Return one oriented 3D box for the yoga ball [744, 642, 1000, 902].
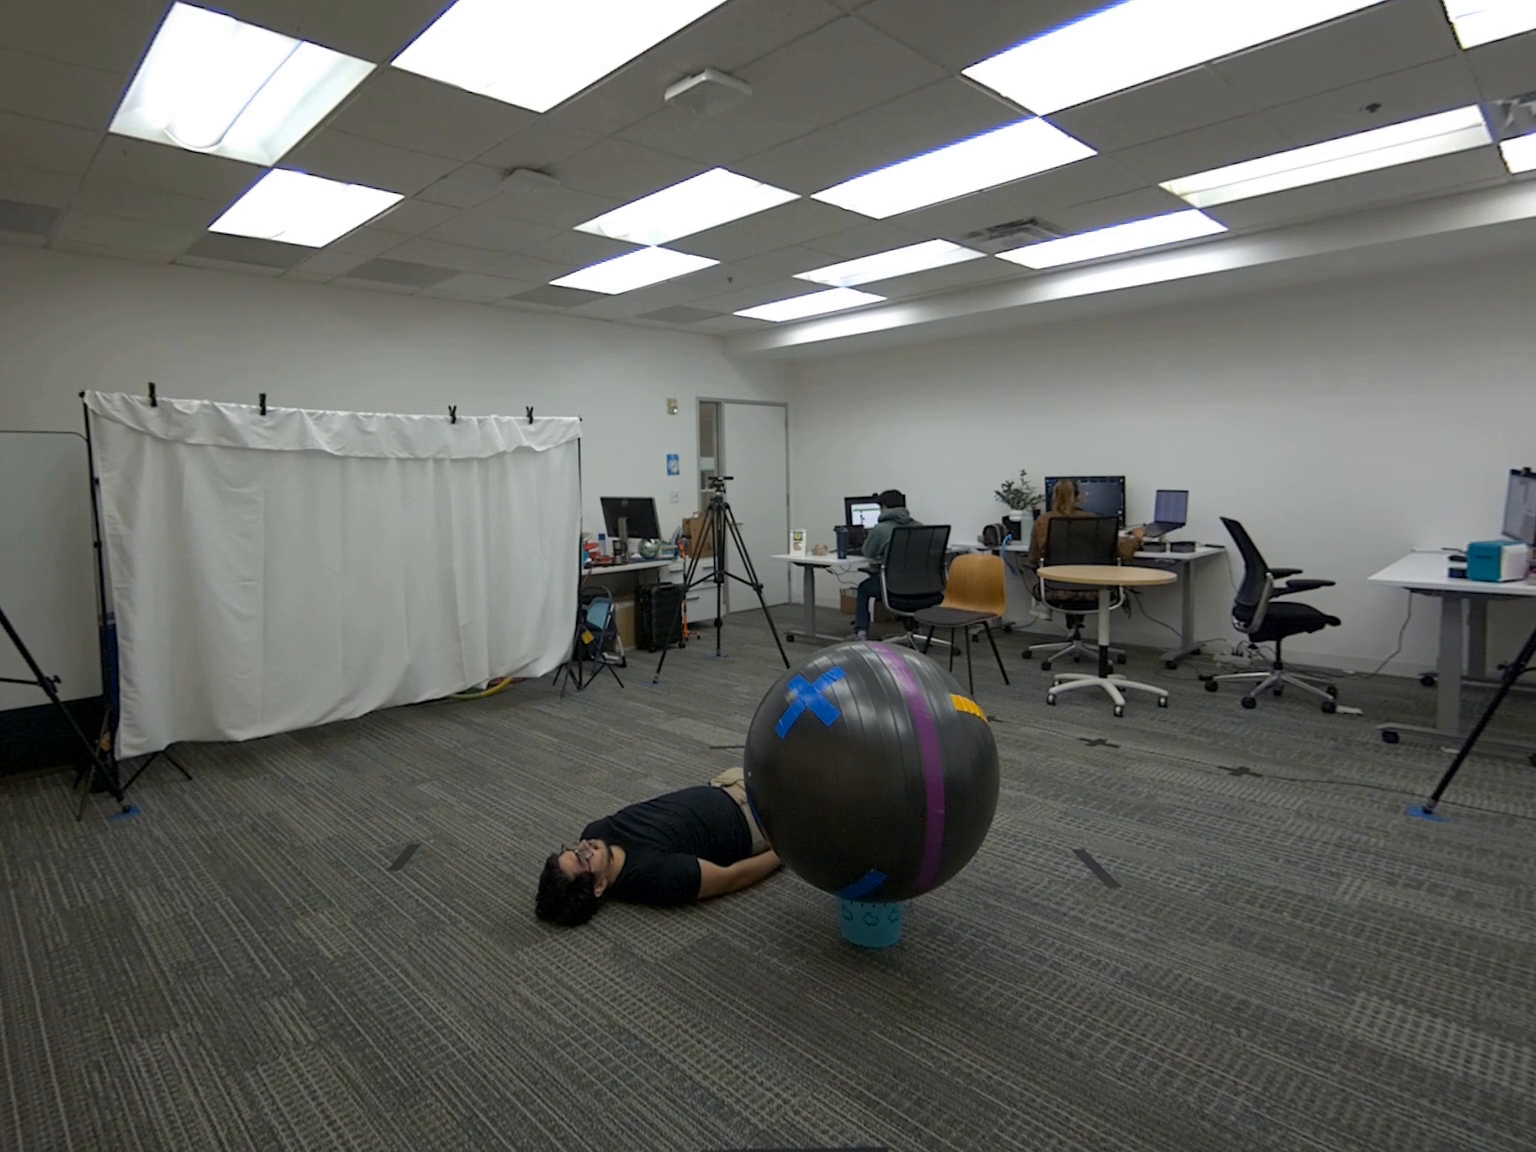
[{"bbox_3d":[0.310,0.585,2.583,0.757,0.755,0.761,-1,4,-2],"label":"yoga ball"}]
